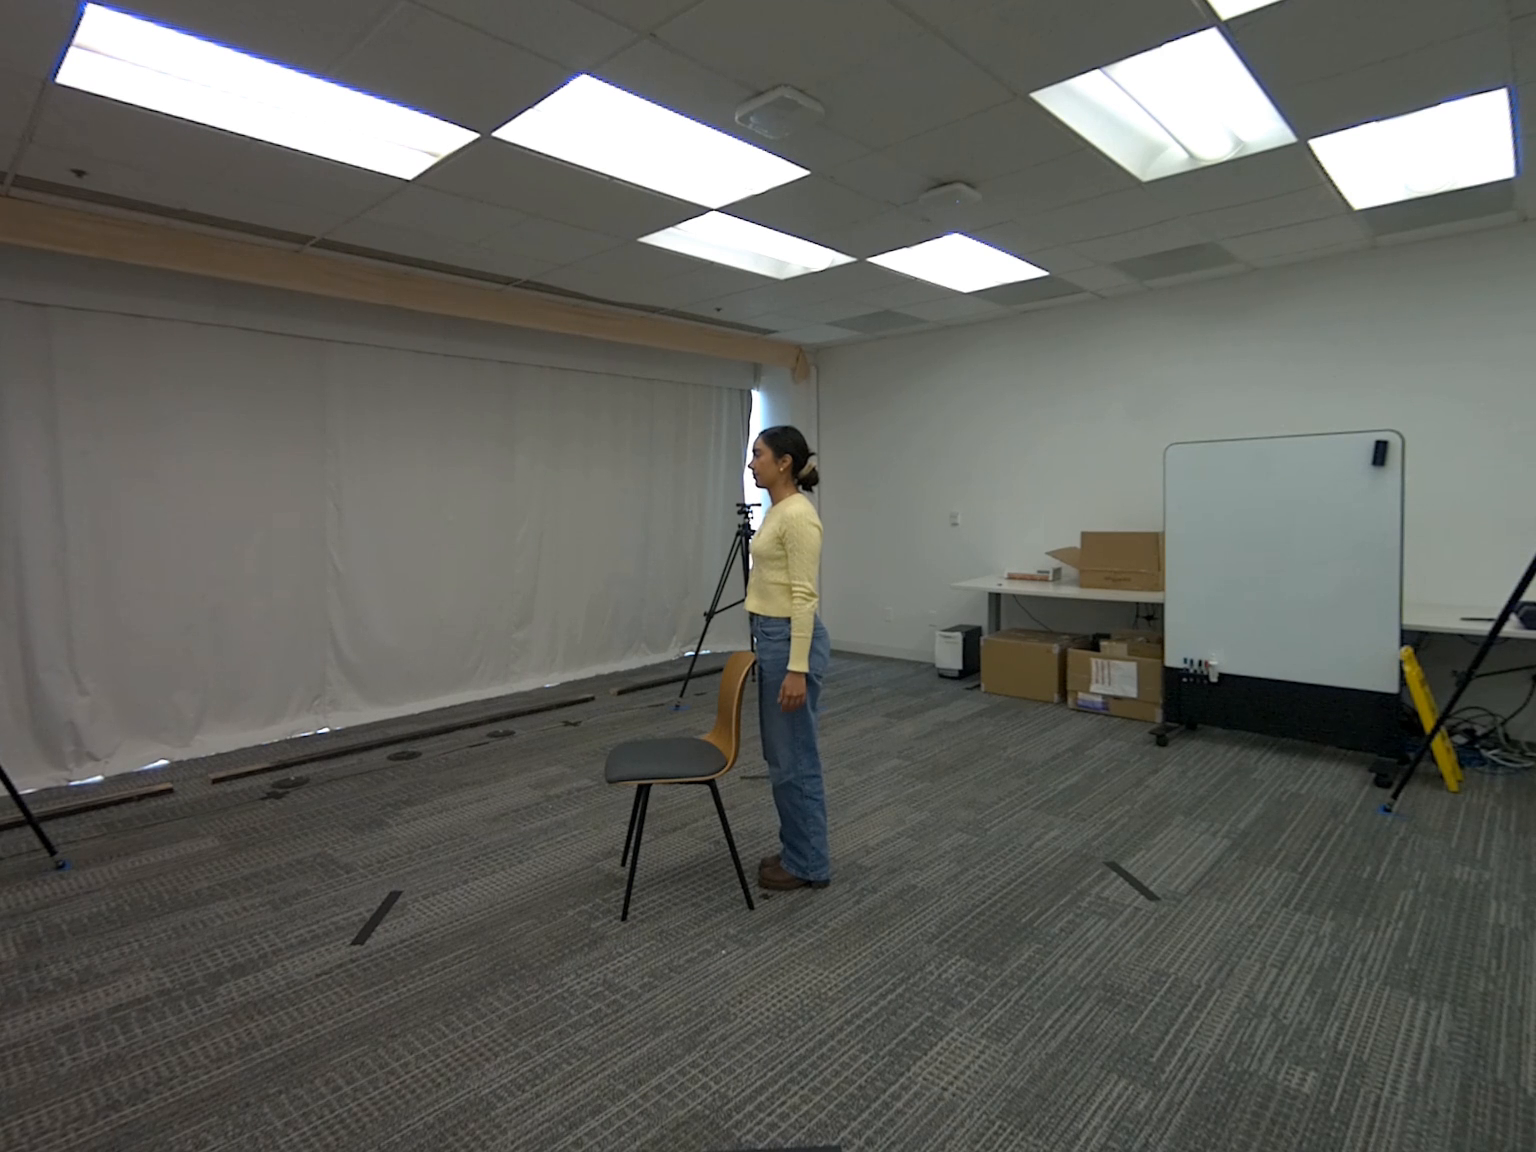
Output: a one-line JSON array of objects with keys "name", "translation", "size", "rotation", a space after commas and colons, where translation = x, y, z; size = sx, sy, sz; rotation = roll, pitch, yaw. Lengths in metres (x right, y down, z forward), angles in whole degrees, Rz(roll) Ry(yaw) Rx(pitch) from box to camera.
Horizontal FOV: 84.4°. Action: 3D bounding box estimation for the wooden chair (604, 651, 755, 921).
[{"name": "wooden chair", "translation": [-0.328, 0.714, 3.045], "size": [0.518, 0.875, 0.484], "rotation": [2, 4, -9]}]
